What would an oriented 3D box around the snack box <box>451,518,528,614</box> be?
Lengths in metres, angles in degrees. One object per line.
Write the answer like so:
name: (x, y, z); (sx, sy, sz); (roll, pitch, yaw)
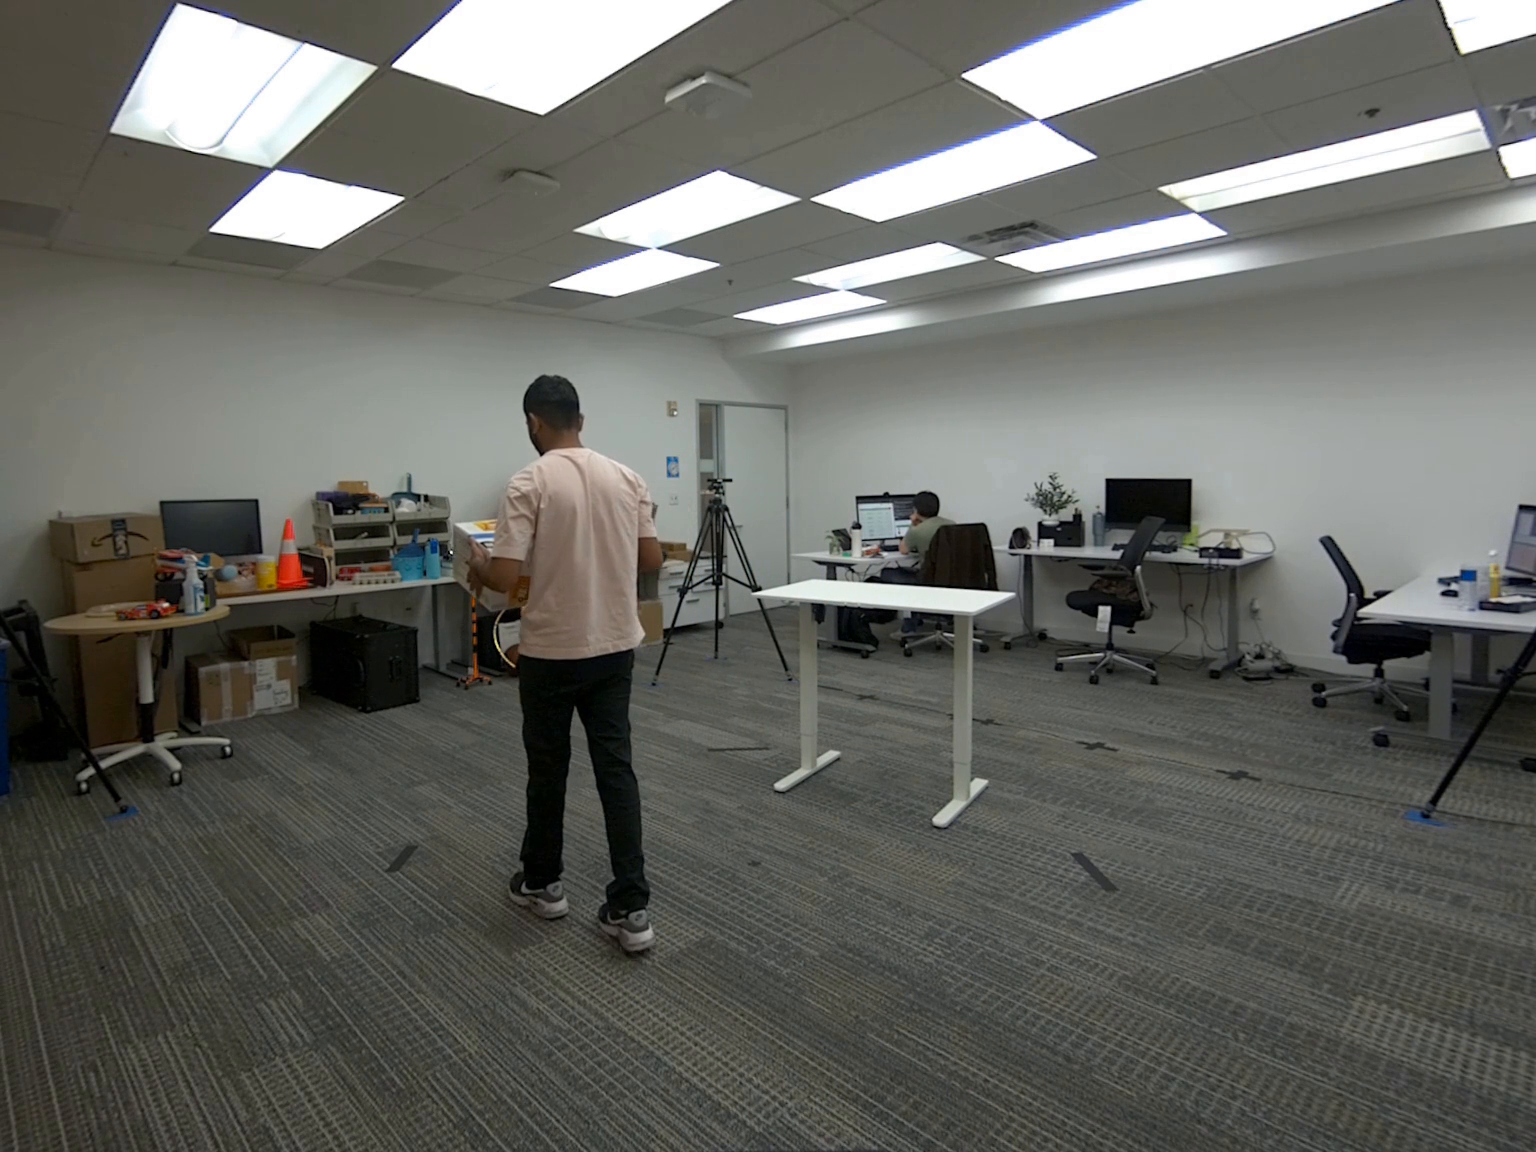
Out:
snack box: (-0.828, -0.060, 2.946); (0.395, 0.203, 0.353); (-10, 23, -38)
